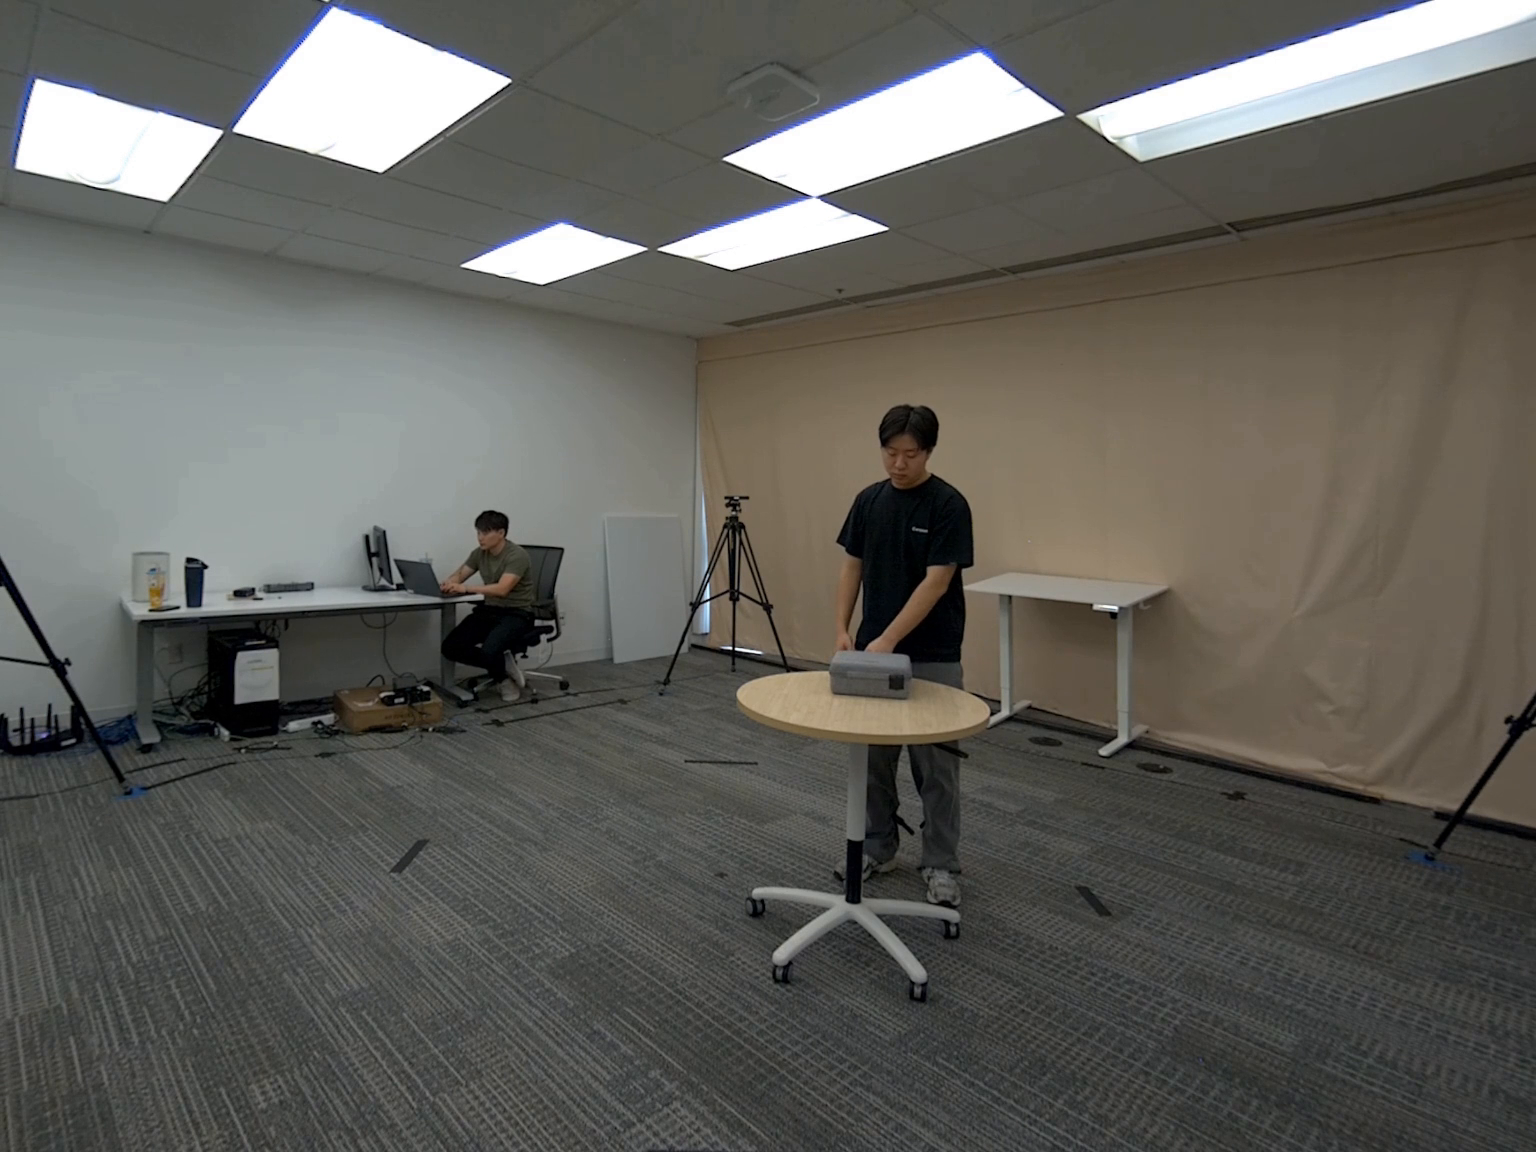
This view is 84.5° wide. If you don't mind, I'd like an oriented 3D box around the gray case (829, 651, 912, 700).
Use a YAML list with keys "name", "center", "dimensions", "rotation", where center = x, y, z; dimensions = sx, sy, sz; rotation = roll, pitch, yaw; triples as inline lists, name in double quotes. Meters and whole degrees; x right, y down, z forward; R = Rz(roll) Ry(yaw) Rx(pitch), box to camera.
- name: "gray case"
  center: [0.323, 0.310, 2.735]
  dimensions: [0.265, 0.103, 0.286]
  rotation: [1, 6, 7]
